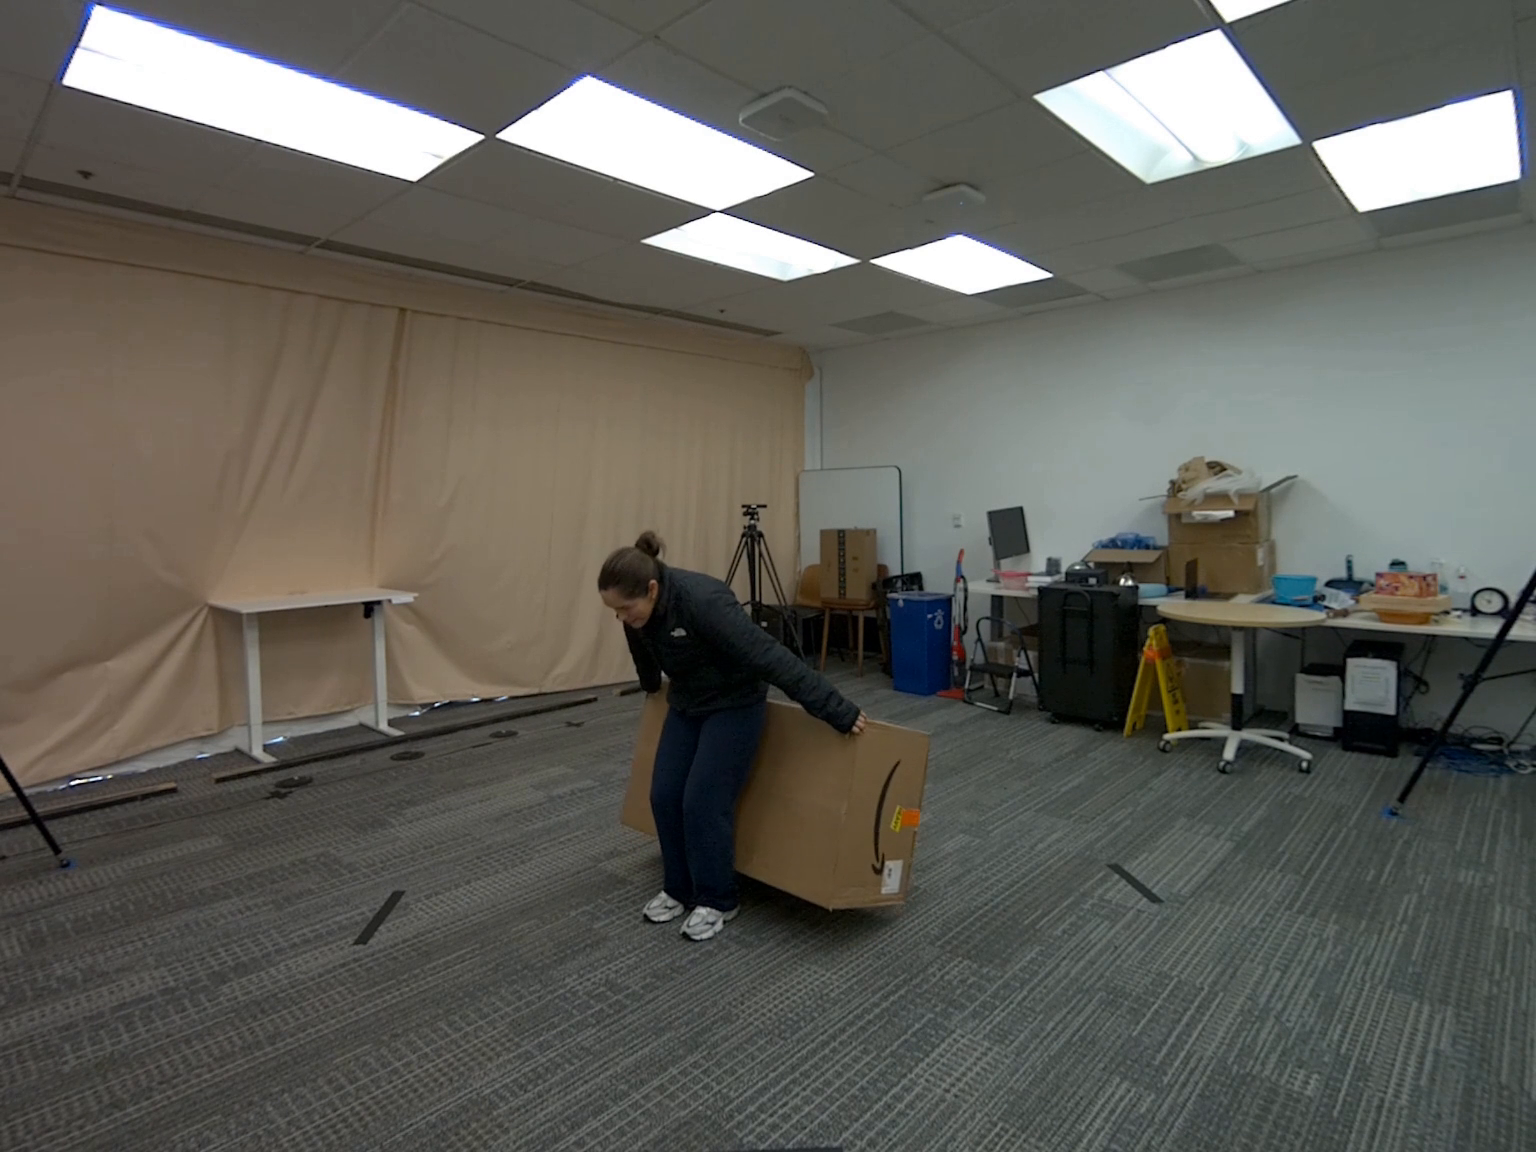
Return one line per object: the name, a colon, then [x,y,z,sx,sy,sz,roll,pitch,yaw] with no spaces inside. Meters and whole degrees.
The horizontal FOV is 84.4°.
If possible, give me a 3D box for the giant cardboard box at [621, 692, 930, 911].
giant cardboard box: [0.011,0.748,3.077,1.060,0.579,0.411,3,-12,44]
